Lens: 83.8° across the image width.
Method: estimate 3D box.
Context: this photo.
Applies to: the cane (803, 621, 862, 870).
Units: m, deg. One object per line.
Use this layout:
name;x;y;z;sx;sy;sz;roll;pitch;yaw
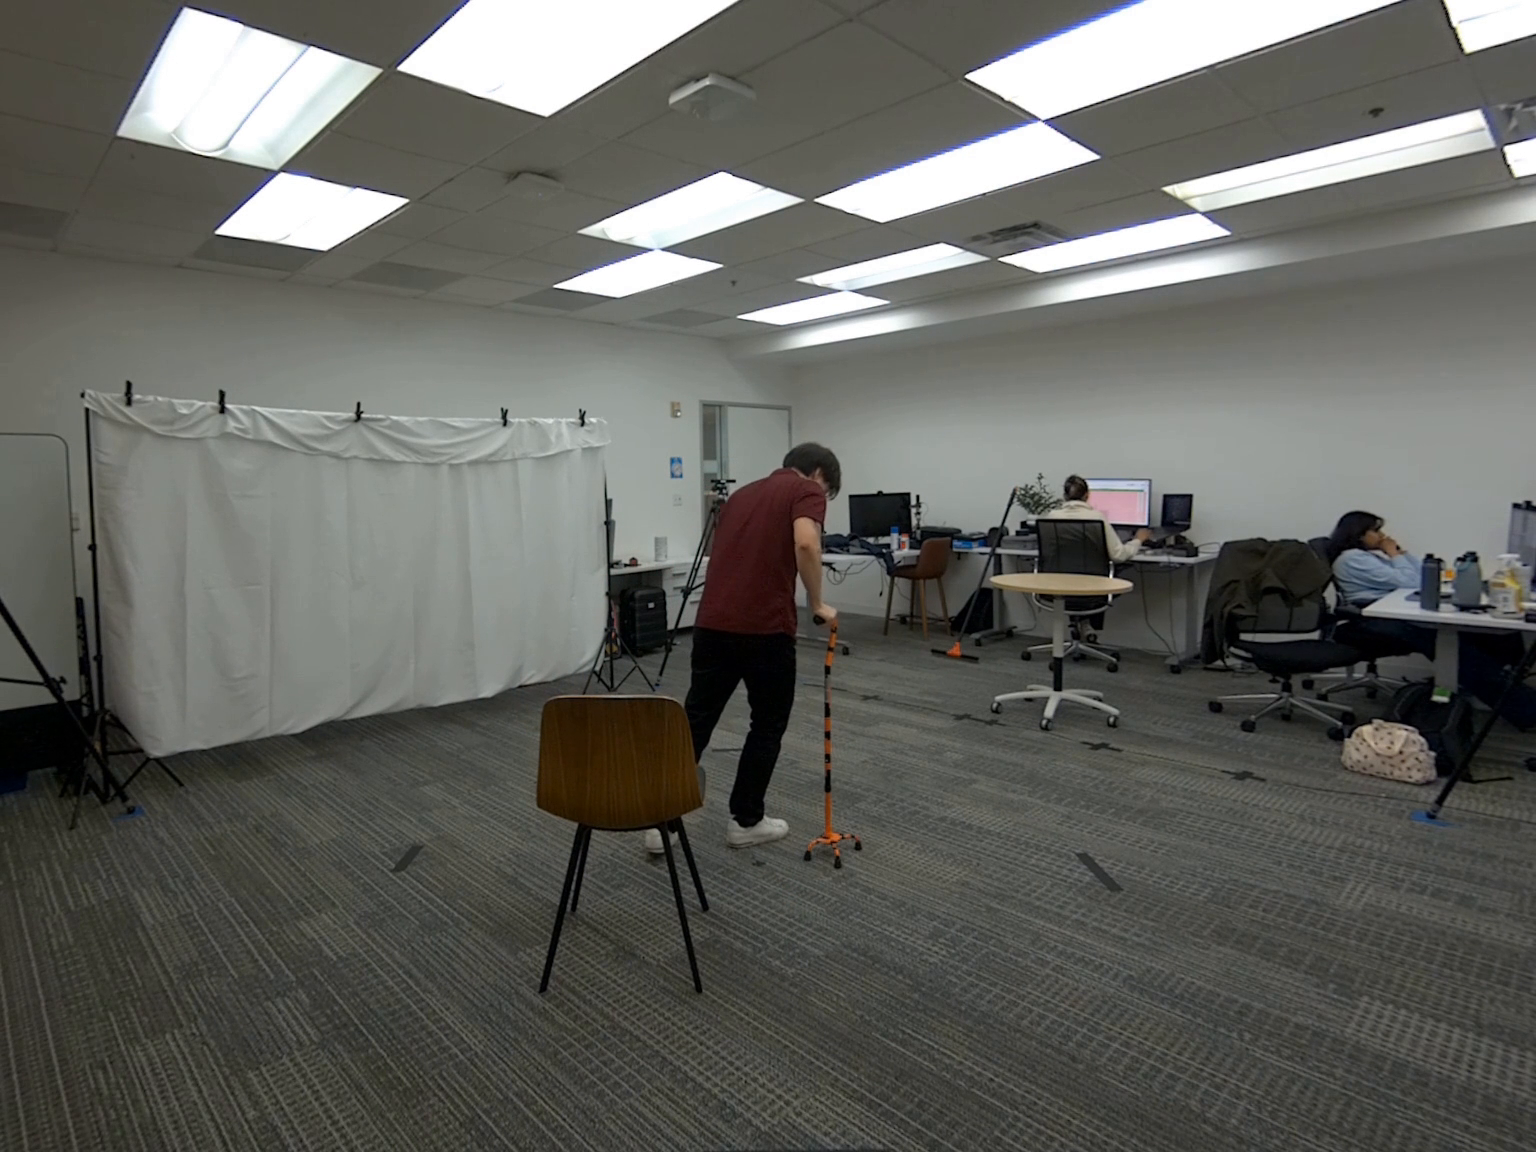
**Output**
cane;0.235;0.576;3.144;0.156;0.904;0.202;2;5;30
